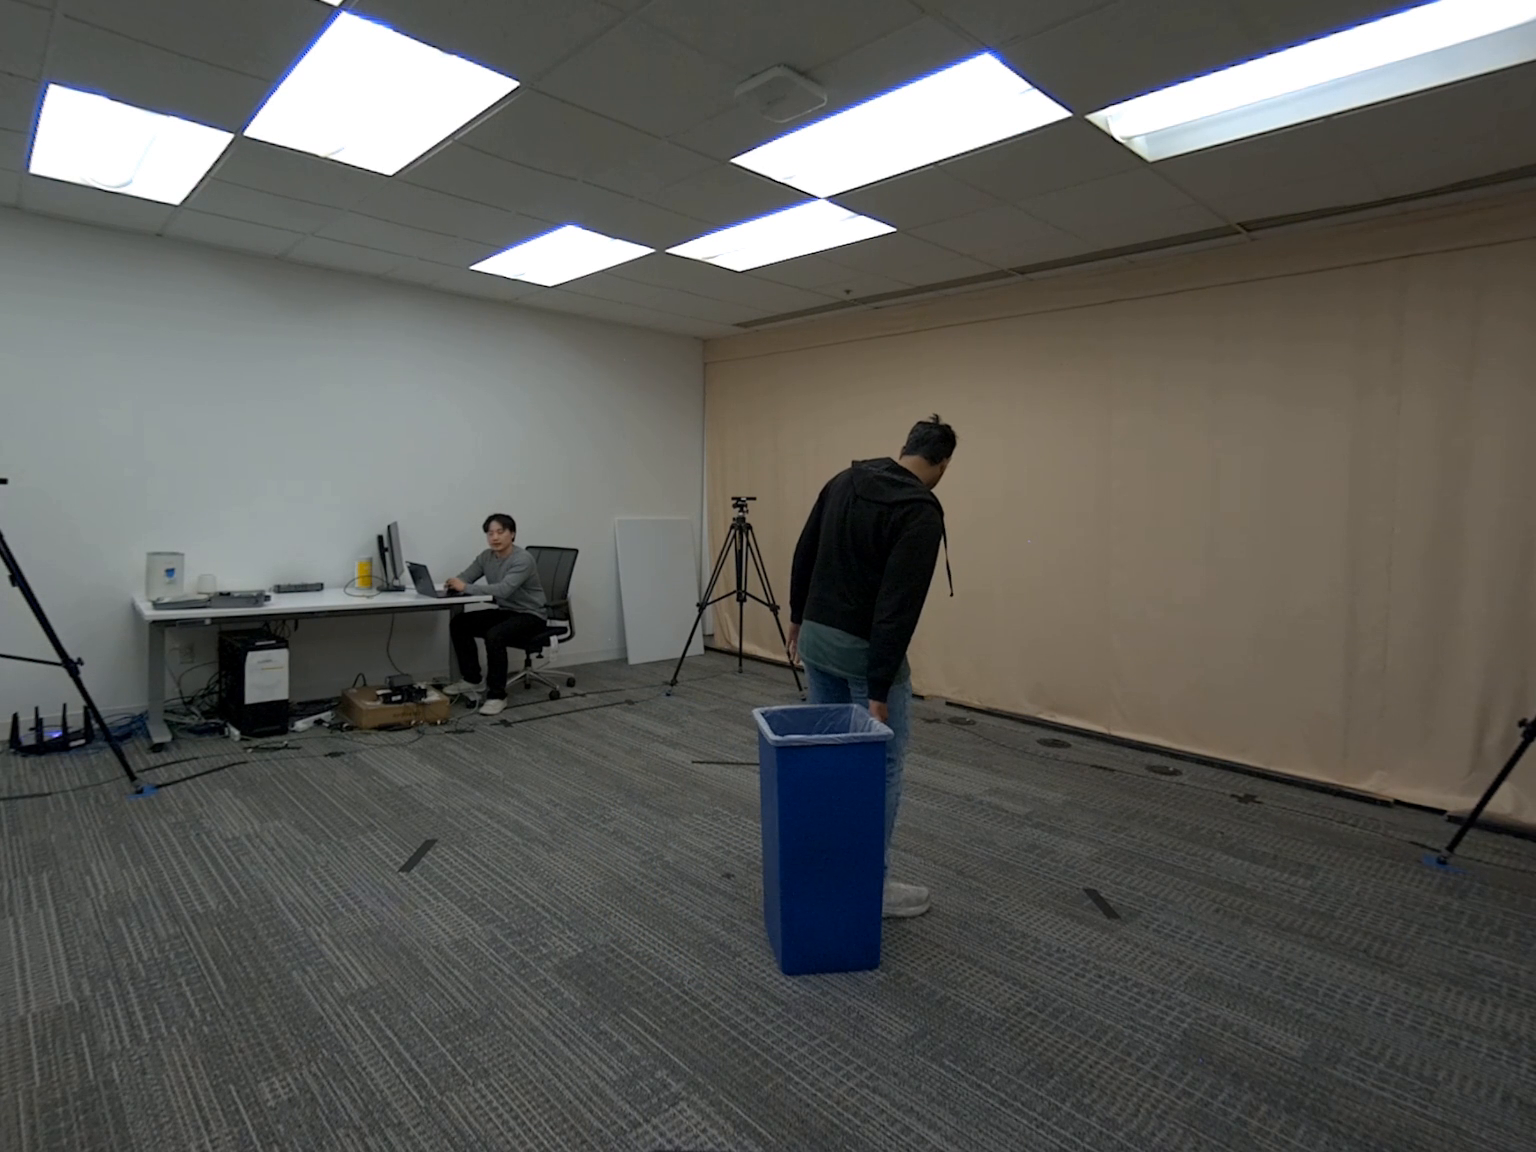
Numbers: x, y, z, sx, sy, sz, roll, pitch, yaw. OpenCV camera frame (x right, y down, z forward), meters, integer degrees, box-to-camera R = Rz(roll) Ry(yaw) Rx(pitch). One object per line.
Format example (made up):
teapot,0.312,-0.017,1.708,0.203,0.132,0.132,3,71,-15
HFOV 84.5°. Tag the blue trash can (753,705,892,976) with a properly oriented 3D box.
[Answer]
blue trash can,0.146,0.797,2.611,0.375,0.712,0.378,-1,3,-9
